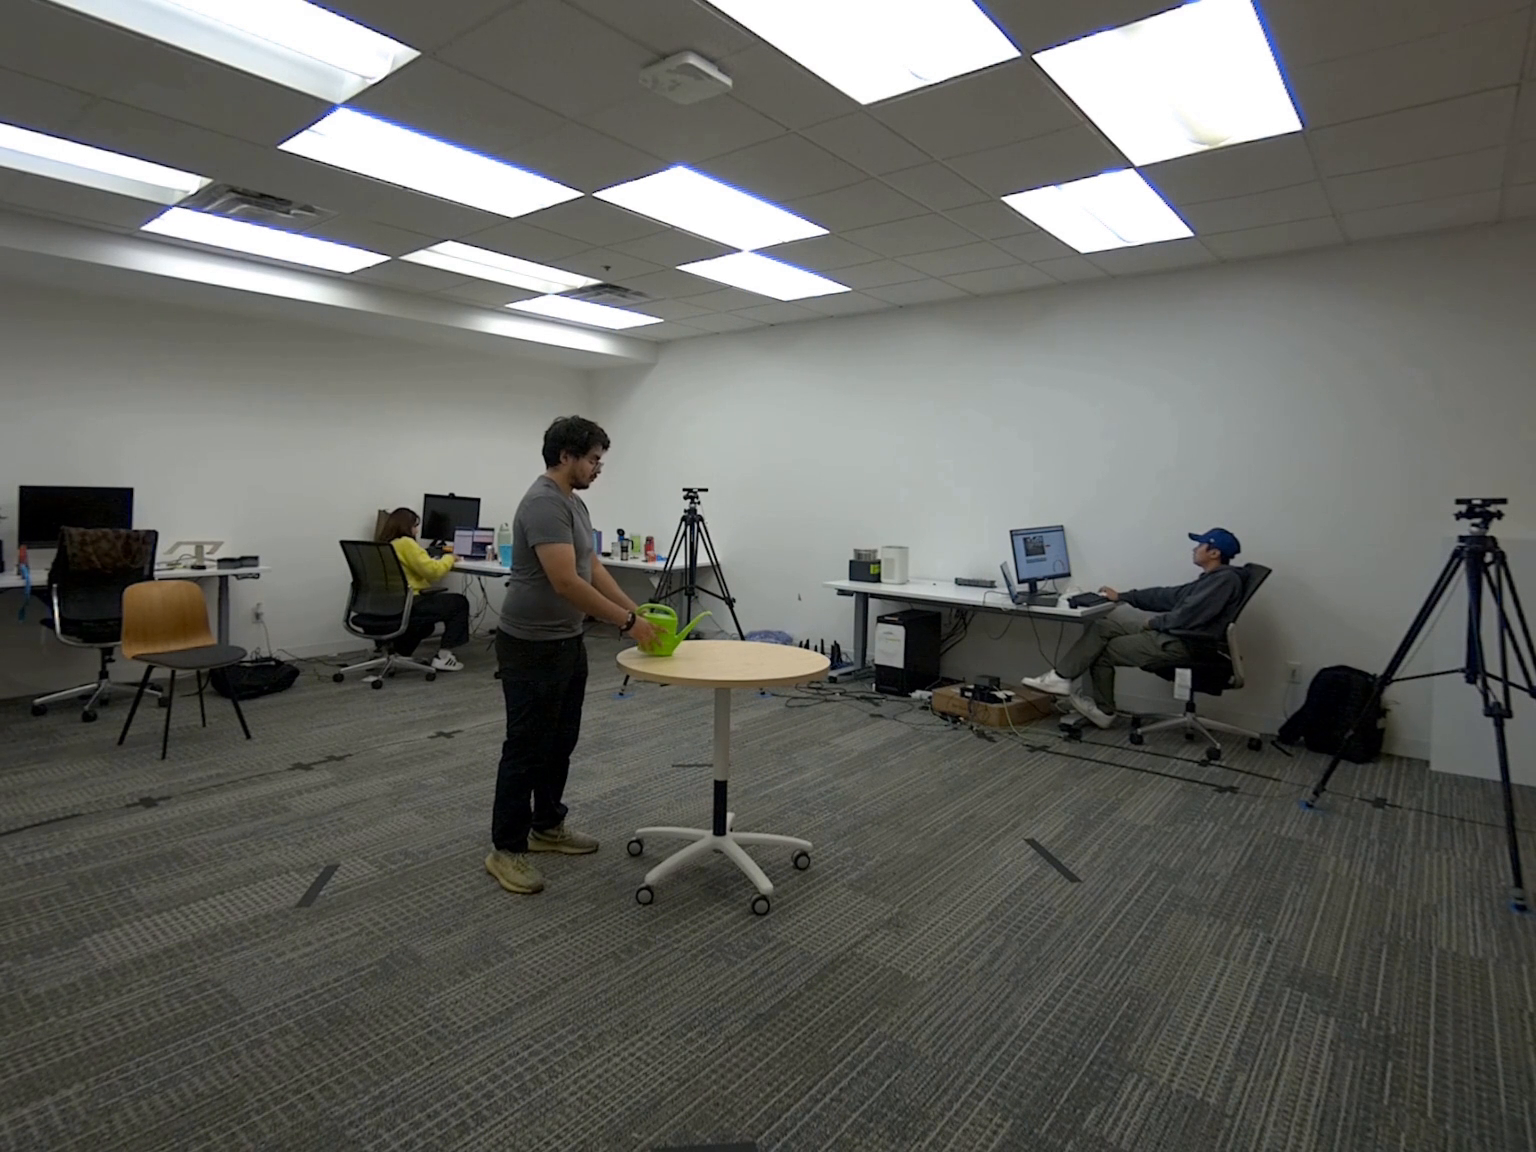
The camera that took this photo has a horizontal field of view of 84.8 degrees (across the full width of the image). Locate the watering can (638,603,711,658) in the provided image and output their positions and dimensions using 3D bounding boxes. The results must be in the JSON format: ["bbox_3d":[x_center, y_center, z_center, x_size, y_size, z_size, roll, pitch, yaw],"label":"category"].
[{"bbox_3d":[-0.368,0.199,3.066,0.281,0.176,0.097,6,4,10],"label":"watering can"}]
